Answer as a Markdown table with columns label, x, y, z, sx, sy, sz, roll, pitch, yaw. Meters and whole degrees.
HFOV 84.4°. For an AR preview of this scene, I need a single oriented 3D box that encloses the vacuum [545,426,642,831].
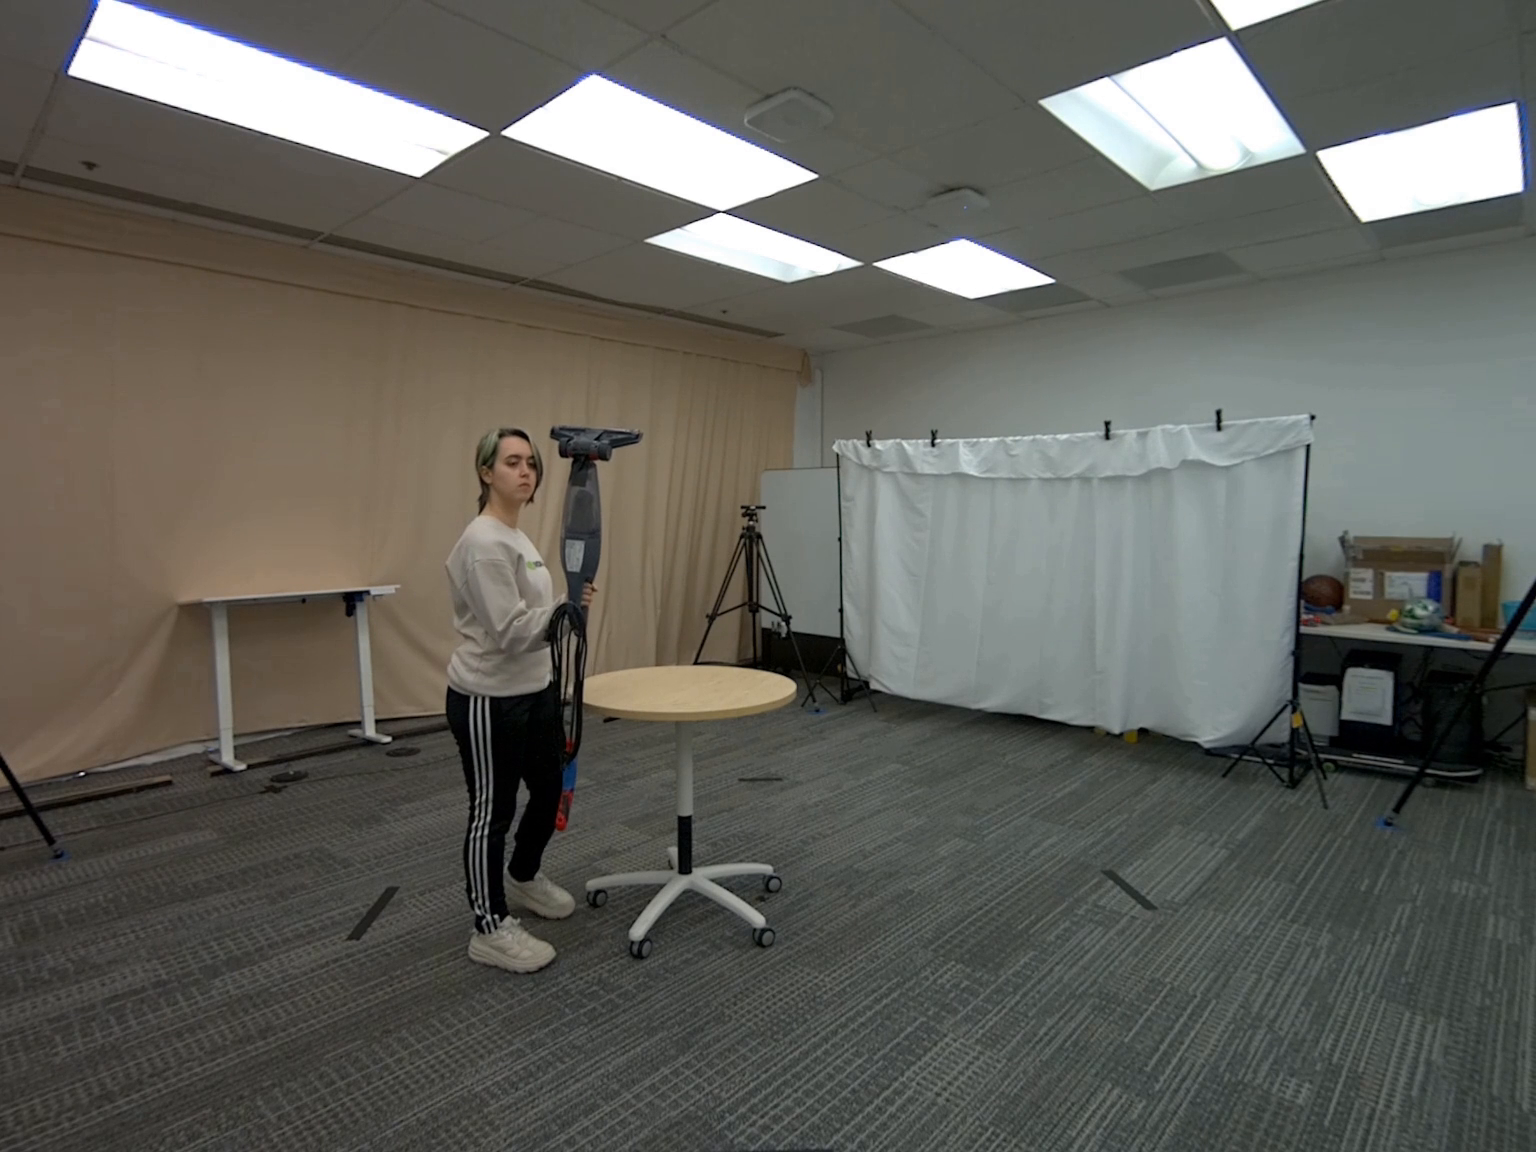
| label | x | y | z | sx | sy | sz | roll | pitch | yaw |
| --- | --- | --- | --- | --- | --- | --- | --- | --- | --- |
| vacuum | -0.523 | 0.146 | 2.239 | 0.255 | 1.049 | 0.143 | 6 | 1 | 7 |
